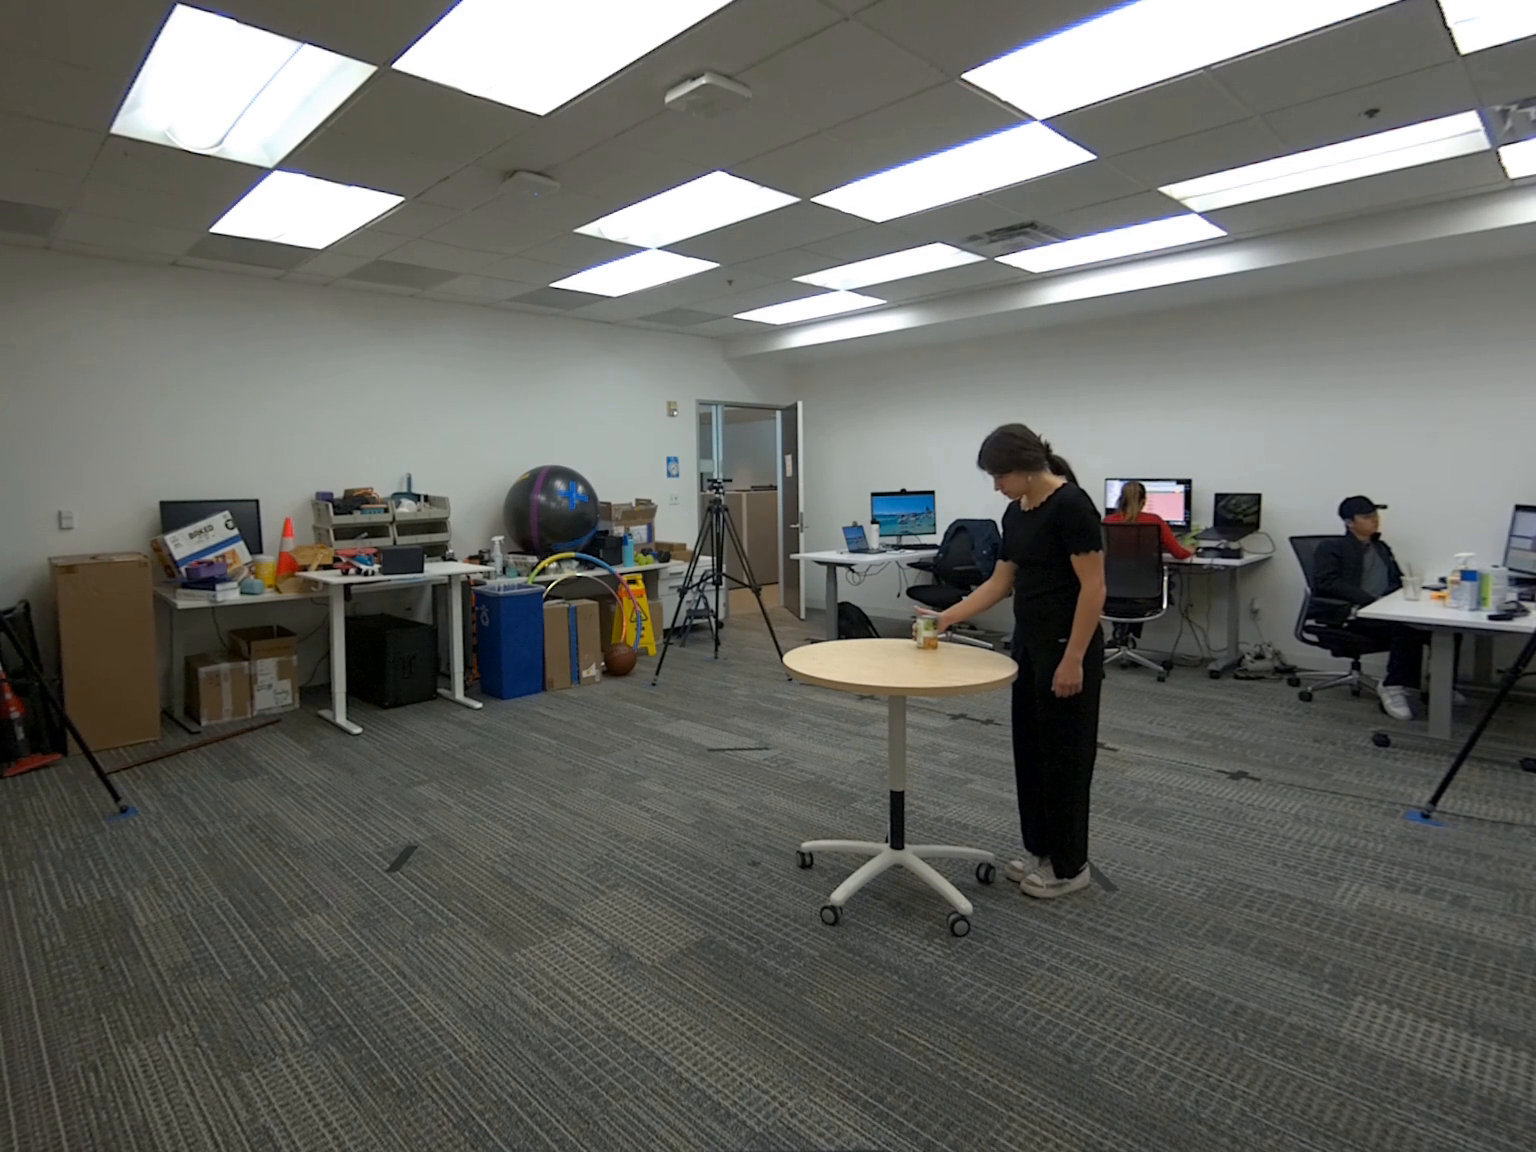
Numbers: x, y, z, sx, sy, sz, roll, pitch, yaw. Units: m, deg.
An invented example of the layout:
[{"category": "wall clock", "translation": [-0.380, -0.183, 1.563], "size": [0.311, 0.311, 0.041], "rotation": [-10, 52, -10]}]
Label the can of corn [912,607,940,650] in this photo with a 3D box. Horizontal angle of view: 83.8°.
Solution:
[{"category": "can of corn", "translation": [0.569, 0.203, 3.063], "size": [0.074, 0.111, 0.074], "rotation": [2, 1, -2]}]
